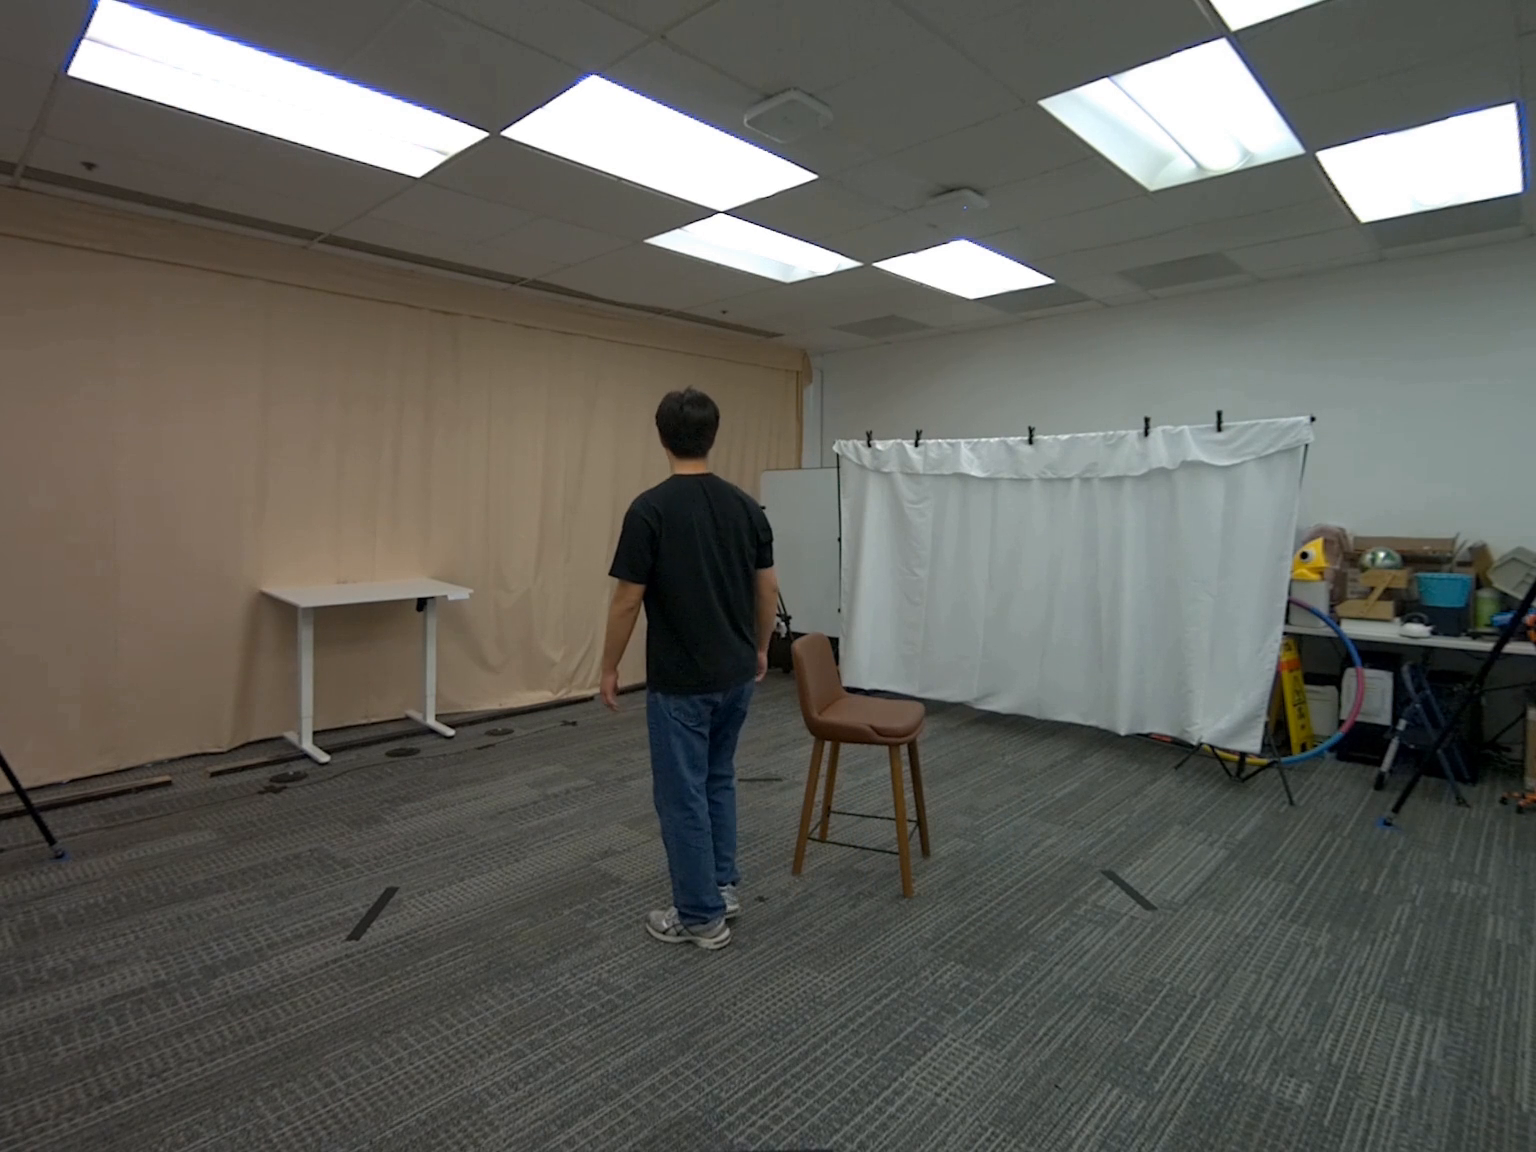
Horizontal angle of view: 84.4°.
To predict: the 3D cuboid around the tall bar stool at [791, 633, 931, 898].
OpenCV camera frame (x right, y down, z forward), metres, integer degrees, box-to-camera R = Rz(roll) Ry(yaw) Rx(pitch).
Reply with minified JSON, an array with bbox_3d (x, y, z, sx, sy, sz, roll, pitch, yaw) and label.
[{"bbox_3d":[0.365,0.684,3.236,0.479,0.888,0.446,-1,2,23],"label":"tall bar stool"}]
